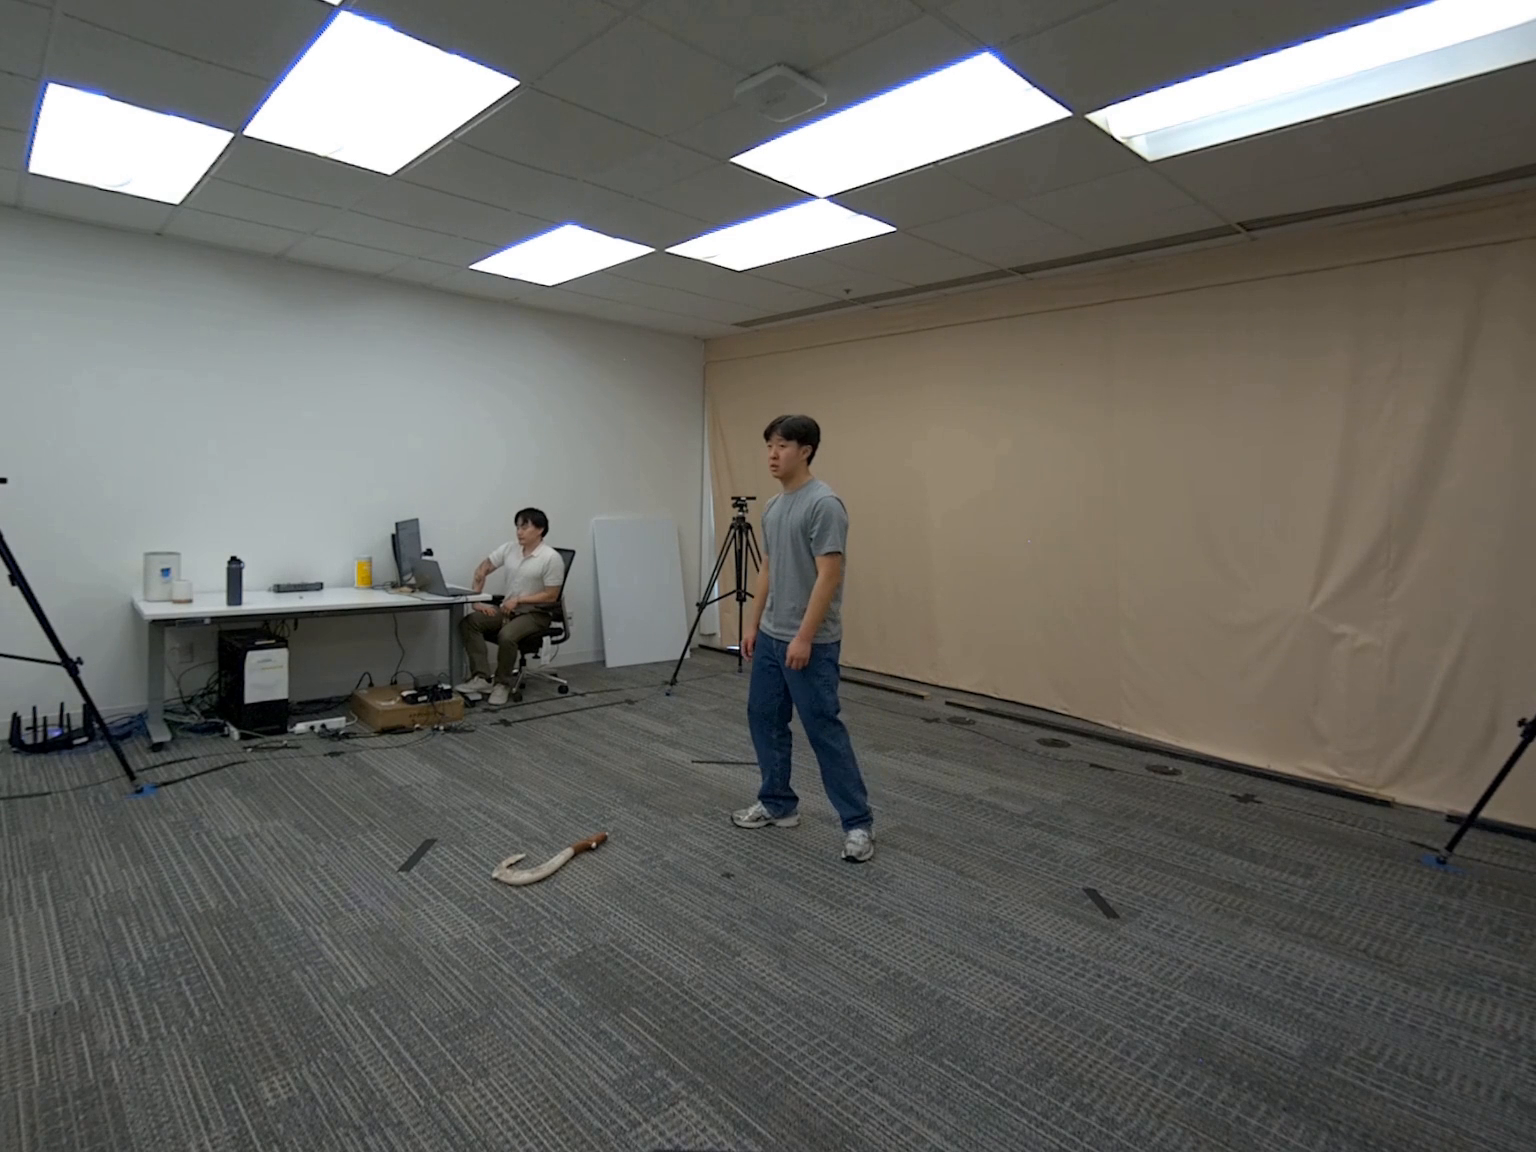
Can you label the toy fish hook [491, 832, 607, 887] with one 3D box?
[{"bbox_3d":[-0.830,1.057,3.203,0.230,0.048,0.497,6,7,31],"label":"toy fish hook"}]
